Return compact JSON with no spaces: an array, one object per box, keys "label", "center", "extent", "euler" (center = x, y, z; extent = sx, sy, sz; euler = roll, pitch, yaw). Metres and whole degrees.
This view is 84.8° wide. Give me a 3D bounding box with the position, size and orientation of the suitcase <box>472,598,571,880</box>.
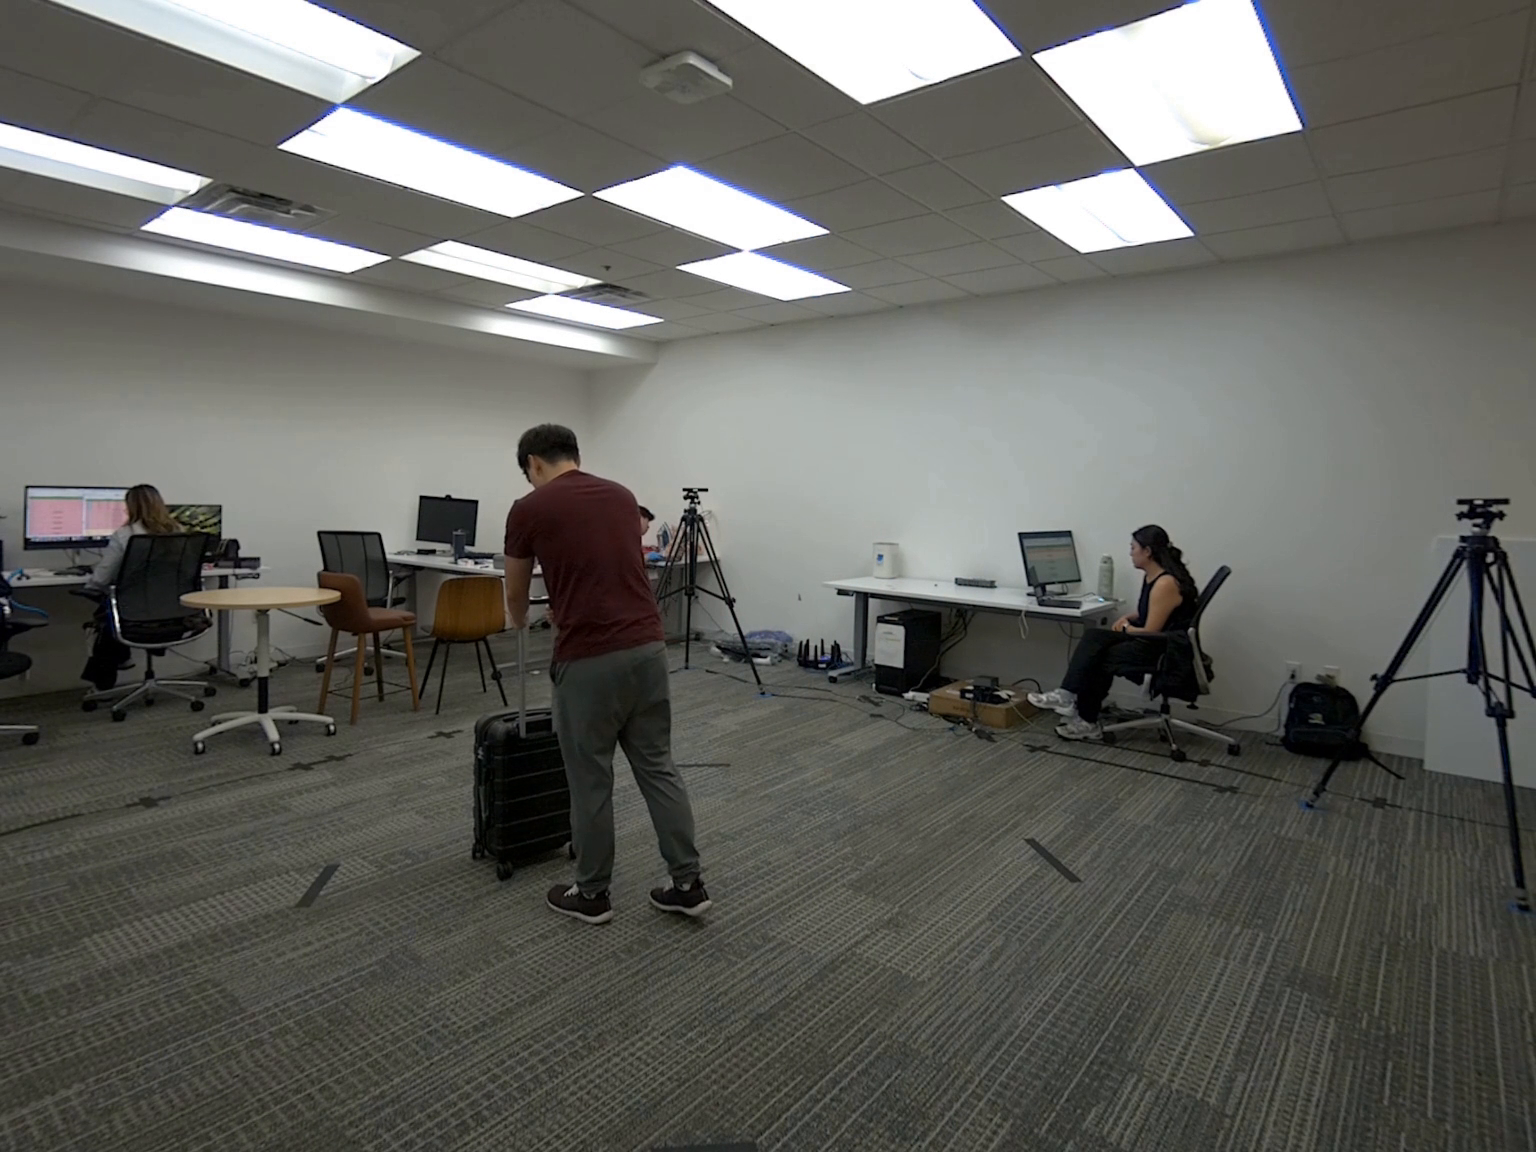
[{"label":"suitcase","center":[-0.929,0.578,3.196],"extent":[0.372,0.980,0.264],"euler":[-1,-1,-37]}]
